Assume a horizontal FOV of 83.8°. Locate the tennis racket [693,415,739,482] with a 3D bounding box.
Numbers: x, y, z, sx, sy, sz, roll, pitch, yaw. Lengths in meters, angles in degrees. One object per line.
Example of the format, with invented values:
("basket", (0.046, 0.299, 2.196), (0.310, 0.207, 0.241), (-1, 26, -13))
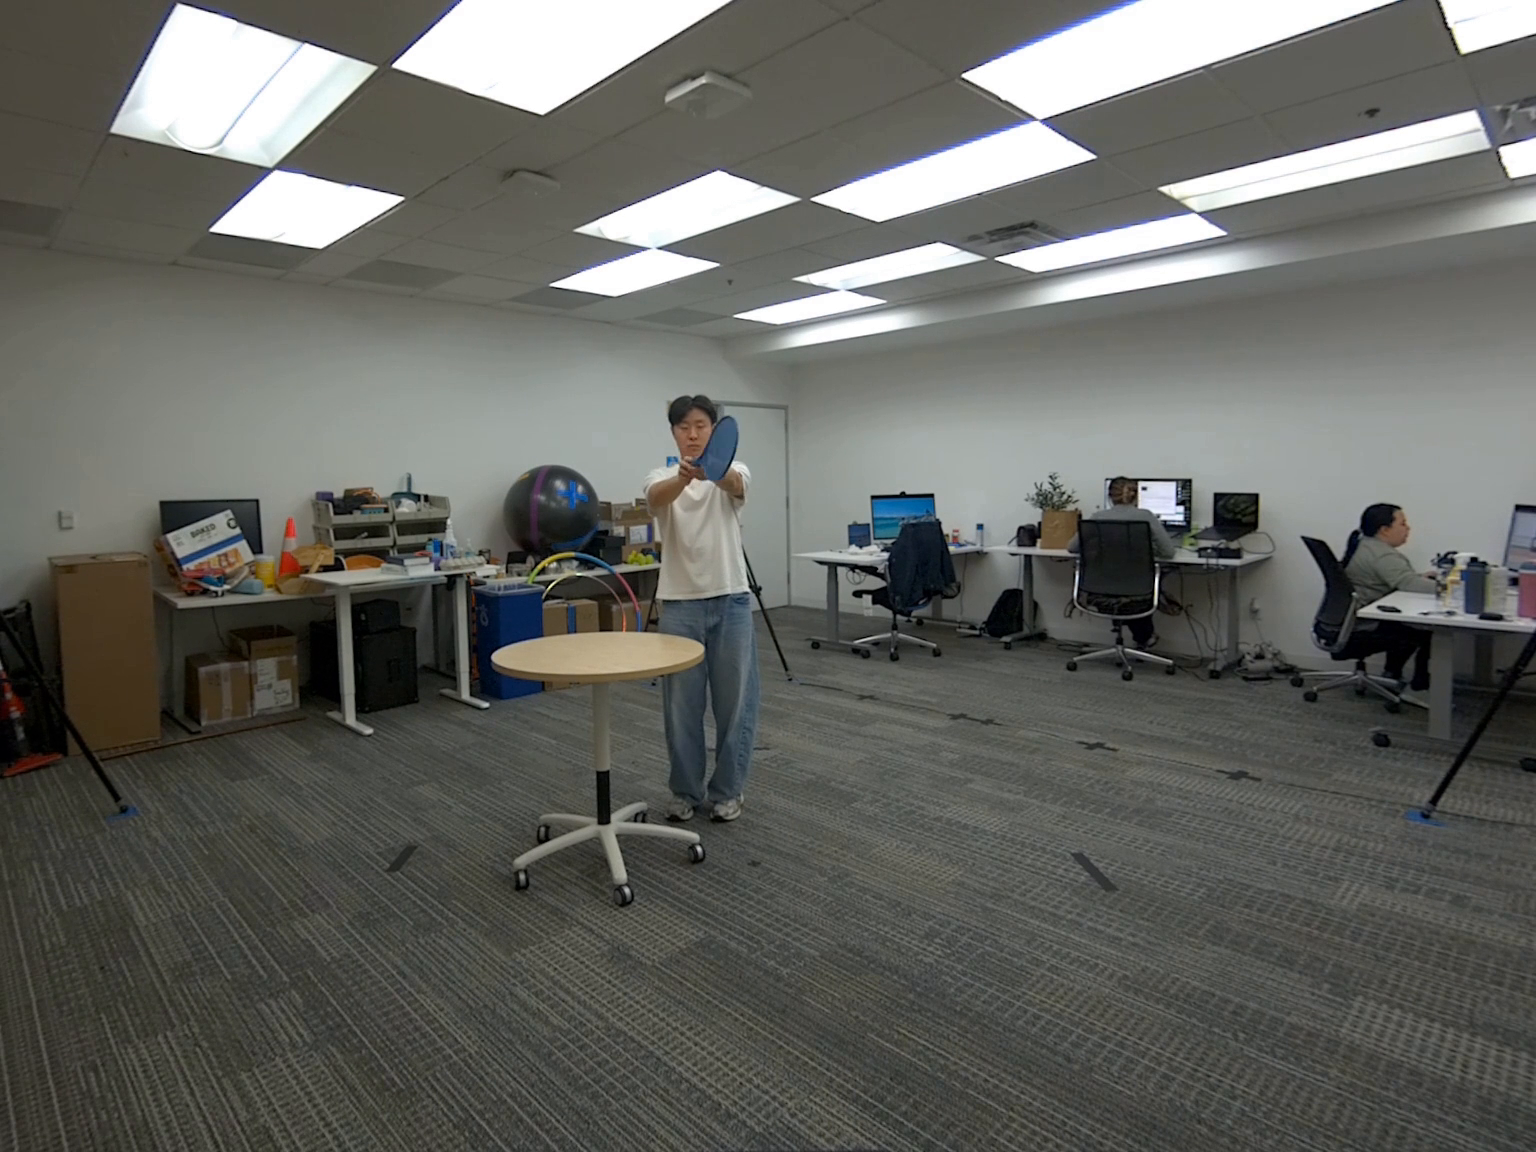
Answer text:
("tennis racket", (-0.193, -0.397, 2.824), (0.031, 0.216, 0.438), (10, -14, -24))
